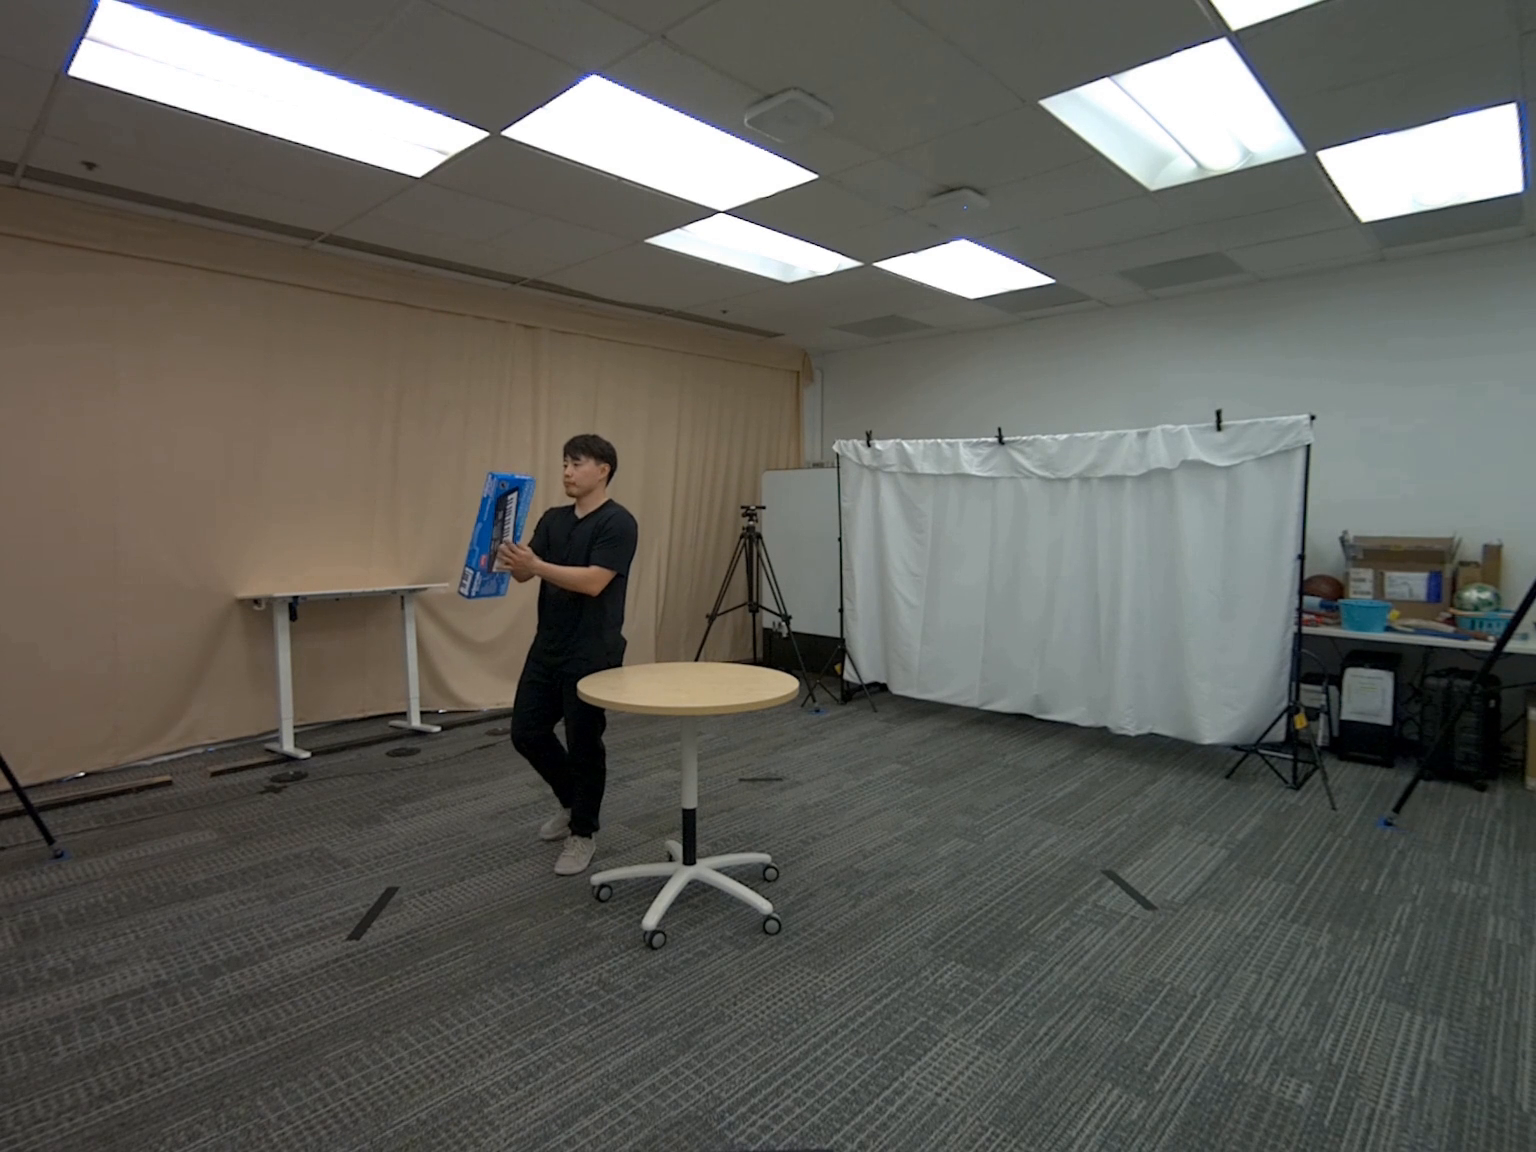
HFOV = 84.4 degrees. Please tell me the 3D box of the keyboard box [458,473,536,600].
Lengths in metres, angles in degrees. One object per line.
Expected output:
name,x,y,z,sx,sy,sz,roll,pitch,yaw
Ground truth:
keyboard box,-0.928,-0.138,2.886,0.061,0.435,0.171,24,13,26
